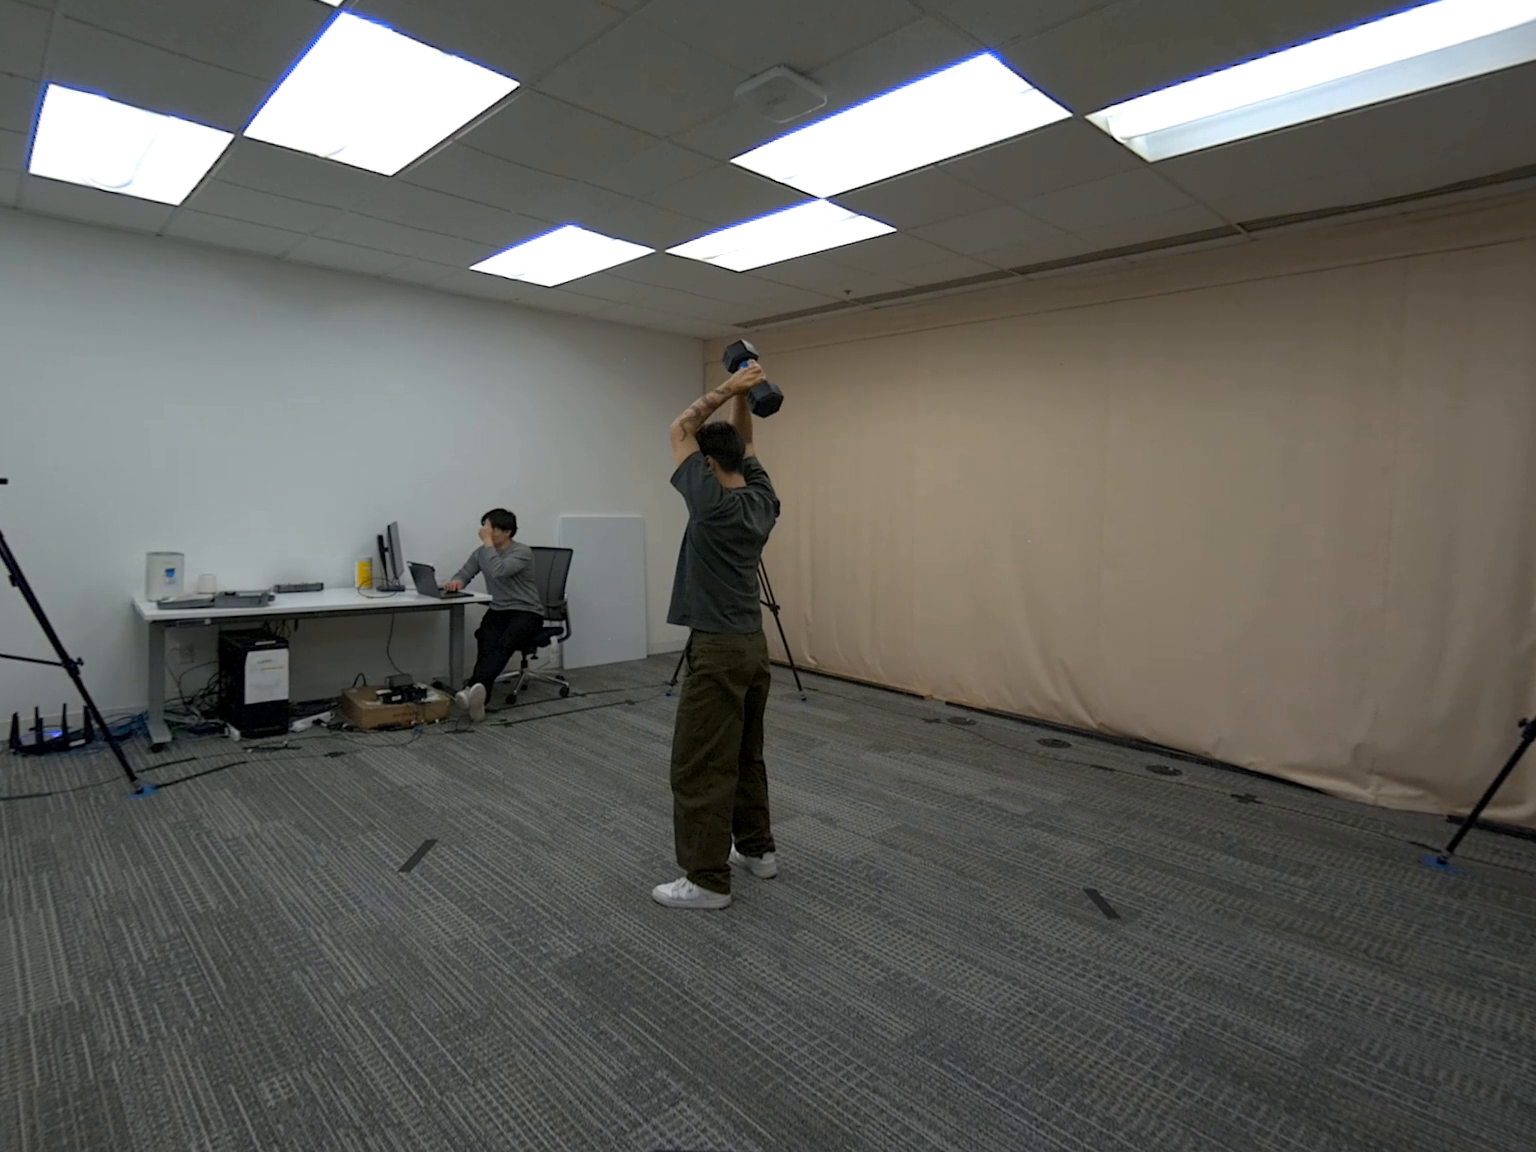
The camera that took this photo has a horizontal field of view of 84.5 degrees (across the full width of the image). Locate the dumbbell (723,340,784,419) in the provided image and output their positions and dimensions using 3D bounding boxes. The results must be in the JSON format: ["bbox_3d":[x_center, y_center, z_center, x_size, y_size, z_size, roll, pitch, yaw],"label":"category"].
[{"bbox_3d":[-0.067,-0.685,2.910,0.107,0.301,0.121,-14,-33,-24],"label":"dumbbell"}]
